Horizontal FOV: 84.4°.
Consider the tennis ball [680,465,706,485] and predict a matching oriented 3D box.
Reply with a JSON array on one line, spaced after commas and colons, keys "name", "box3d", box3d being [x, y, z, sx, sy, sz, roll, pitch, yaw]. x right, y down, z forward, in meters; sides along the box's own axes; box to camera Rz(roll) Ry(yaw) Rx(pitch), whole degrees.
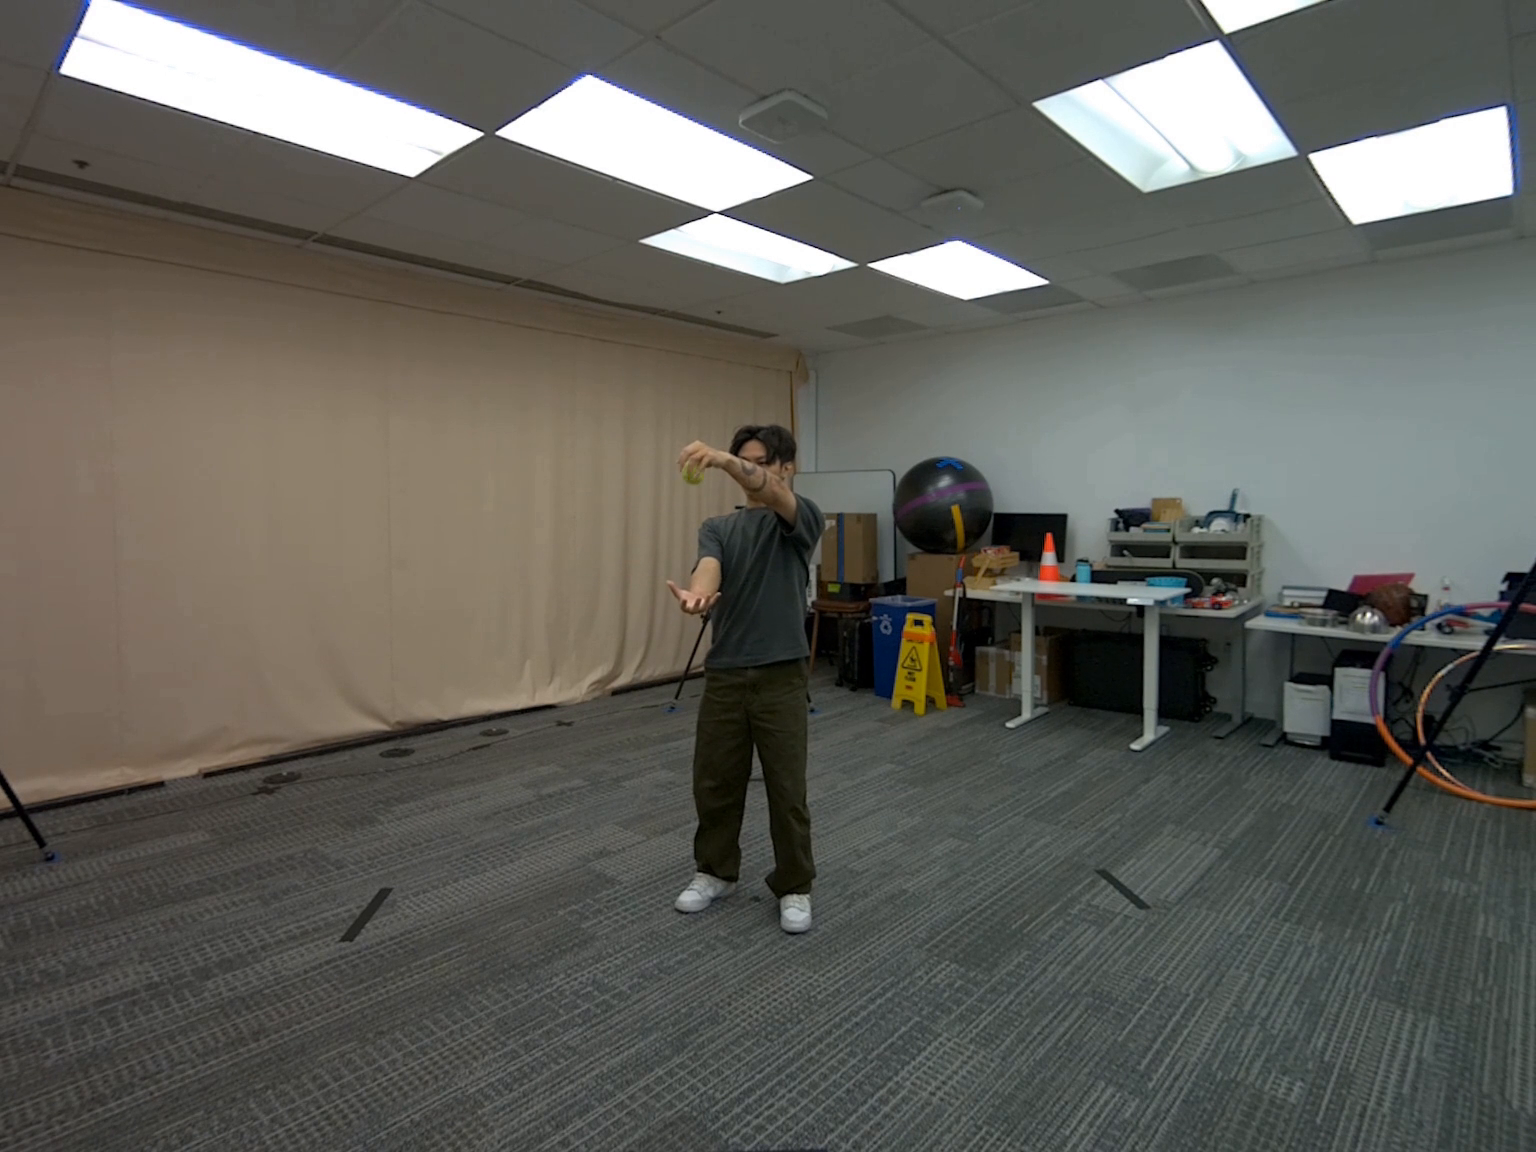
[{"name": "tennis ball", "box3d": [-0.193, -0.292, 2.391, 0.066, 0.066, 0.067, 0, 4, -2]}]
